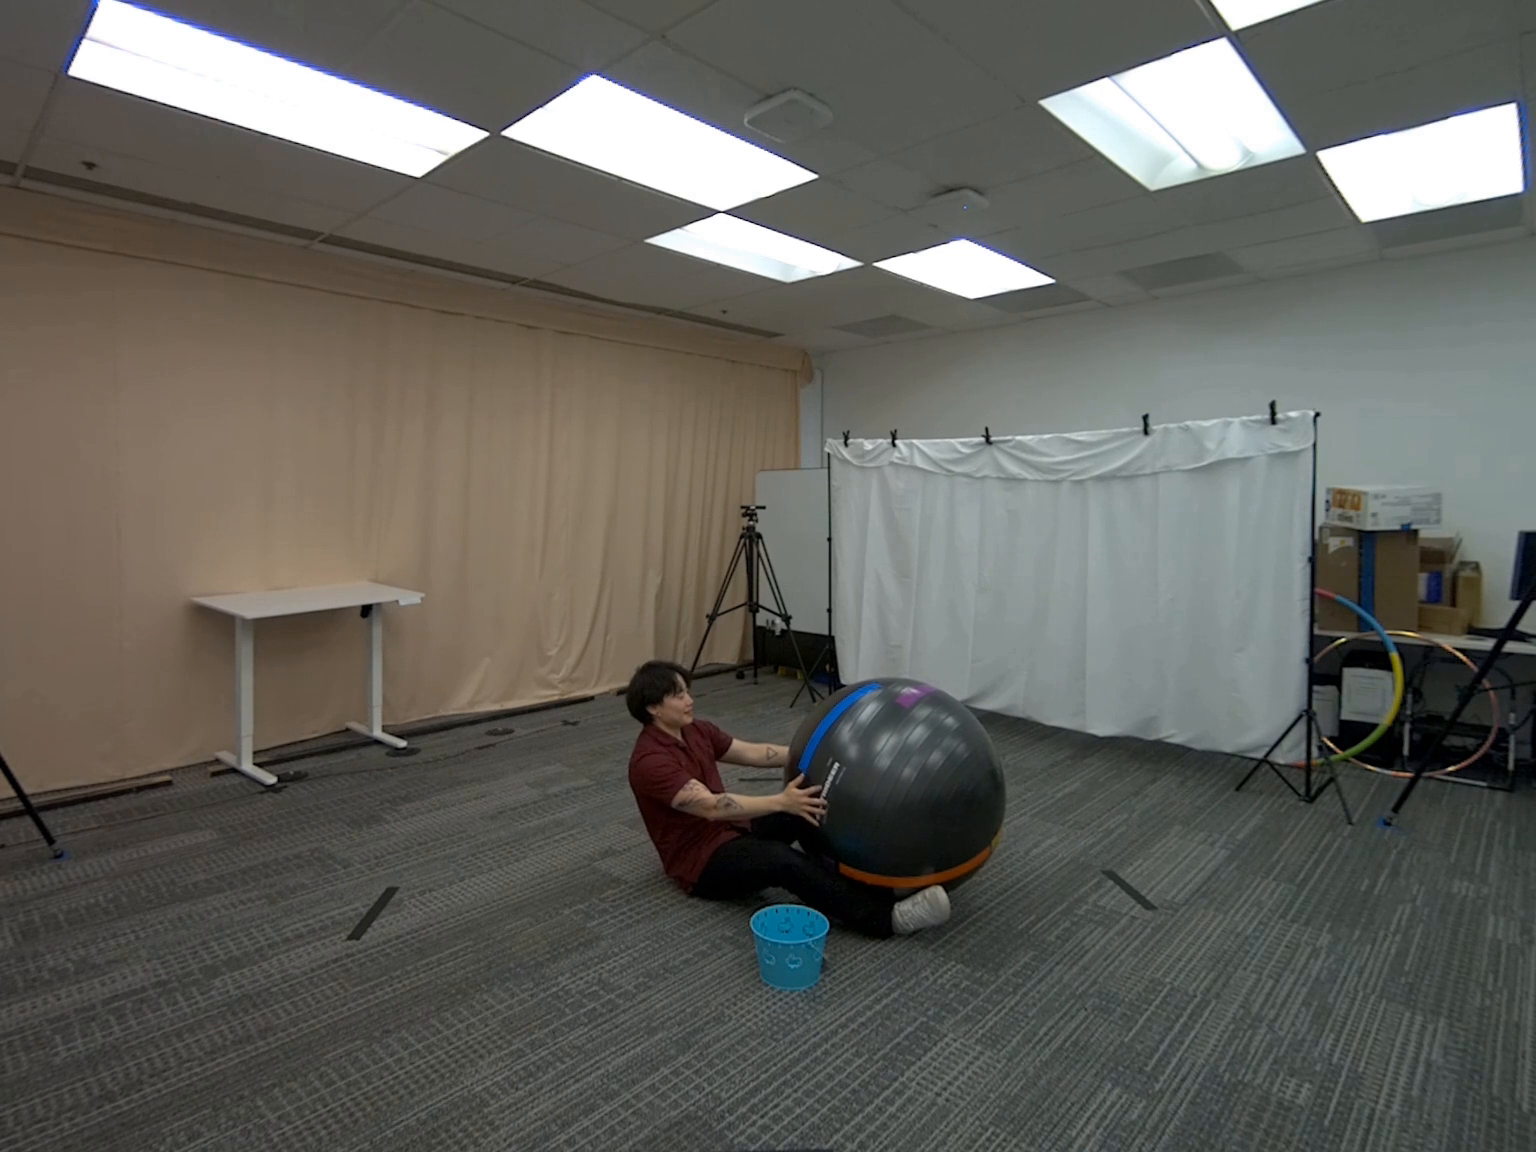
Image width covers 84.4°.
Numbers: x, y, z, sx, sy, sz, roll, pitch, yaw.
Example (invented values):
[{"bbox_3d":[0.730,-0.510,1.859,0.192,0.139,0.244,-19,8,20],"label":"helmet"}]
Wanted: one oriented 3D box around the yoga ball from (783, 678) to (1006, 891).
[{"bbox_3d":[0.449,0.744,2.956,0.757,0.756,0.760,0,4,-2],"label":"yoga ball"}]
